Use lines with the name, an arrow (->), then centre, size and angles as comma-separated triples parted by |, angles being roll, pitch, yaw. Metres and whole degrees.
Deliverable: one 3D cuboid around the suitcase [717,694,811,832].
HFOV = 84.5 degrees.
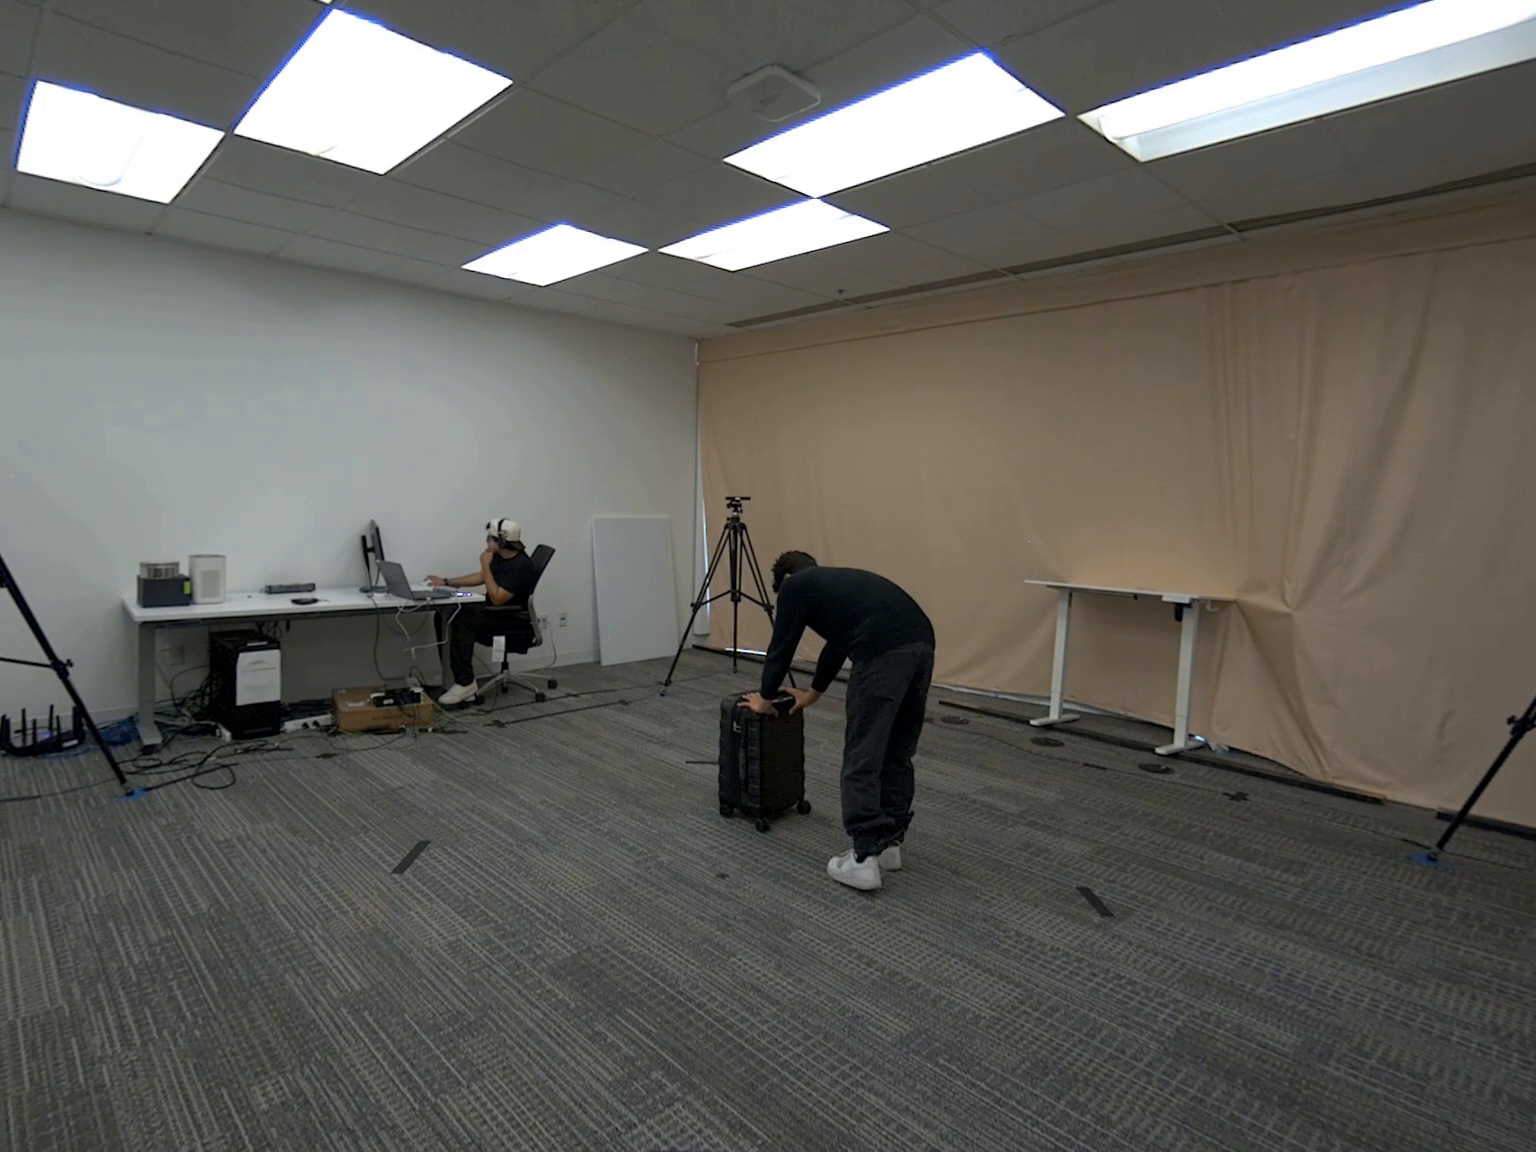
suitcase -> -0.032, 0.781, 3.730 | 0.254, 0.549, 0.367 | 1, 2, 43
